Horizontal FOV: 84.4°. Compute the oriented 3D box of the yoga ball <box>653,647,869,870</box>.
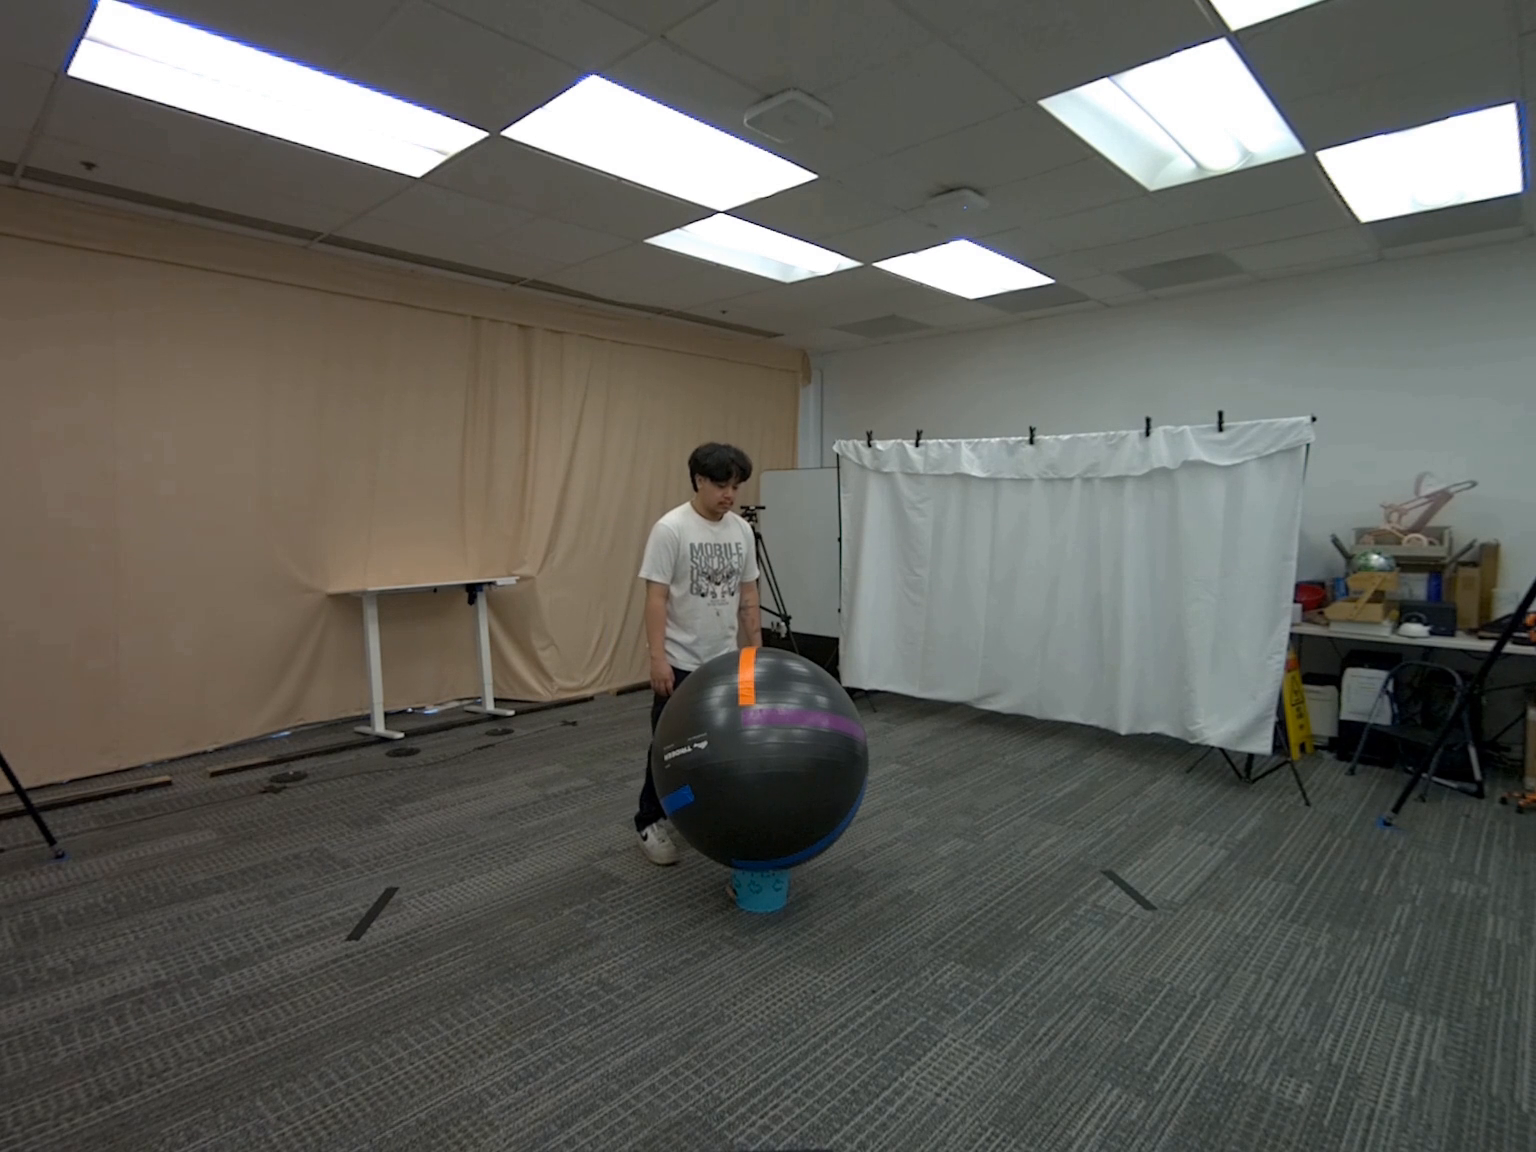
[{"bbox_3d":[-0.033,0.636,2.950,0.757,0.756,0.761,0,4,-2],"label":"yoga ball"}]
